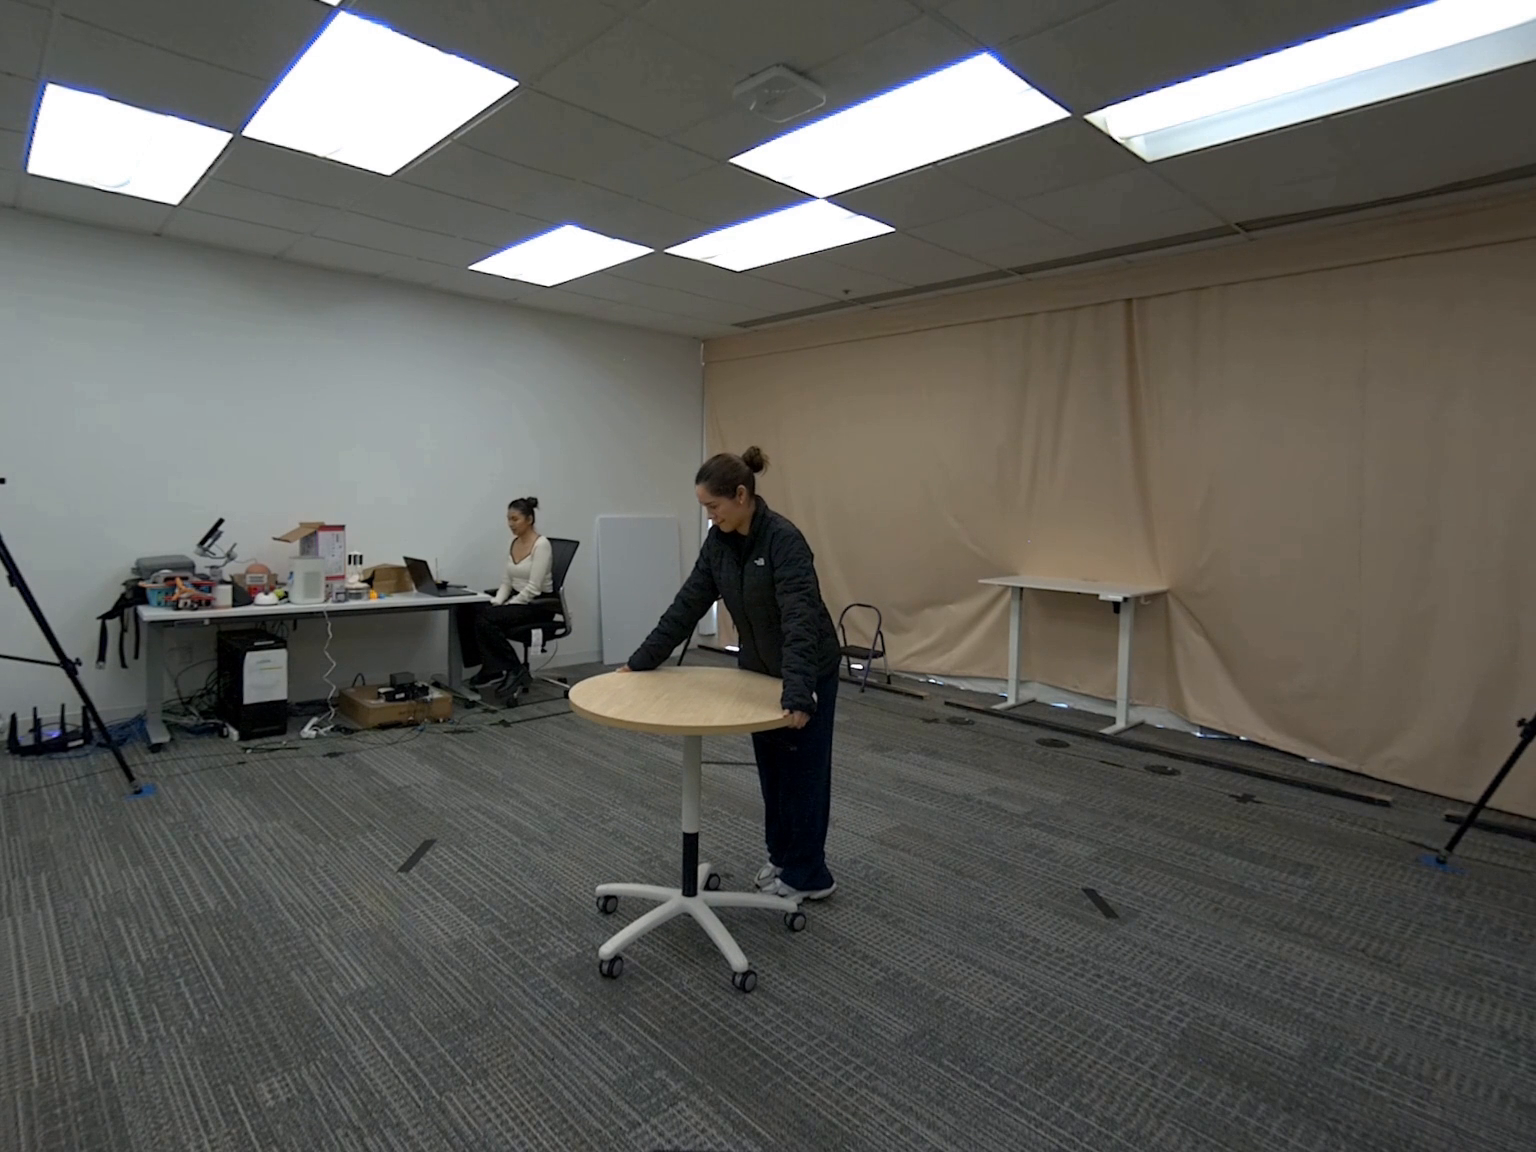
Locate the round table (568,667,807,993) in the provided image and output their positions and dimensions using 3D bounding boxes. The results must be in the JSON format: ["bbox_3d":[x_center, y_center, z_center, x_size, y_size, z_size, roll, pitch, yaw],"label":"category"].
[{"bbox_3d":[-0.238,0.755,2.637,0.784,0.784,0.788,1,5,-1],"label":"round table"}]
